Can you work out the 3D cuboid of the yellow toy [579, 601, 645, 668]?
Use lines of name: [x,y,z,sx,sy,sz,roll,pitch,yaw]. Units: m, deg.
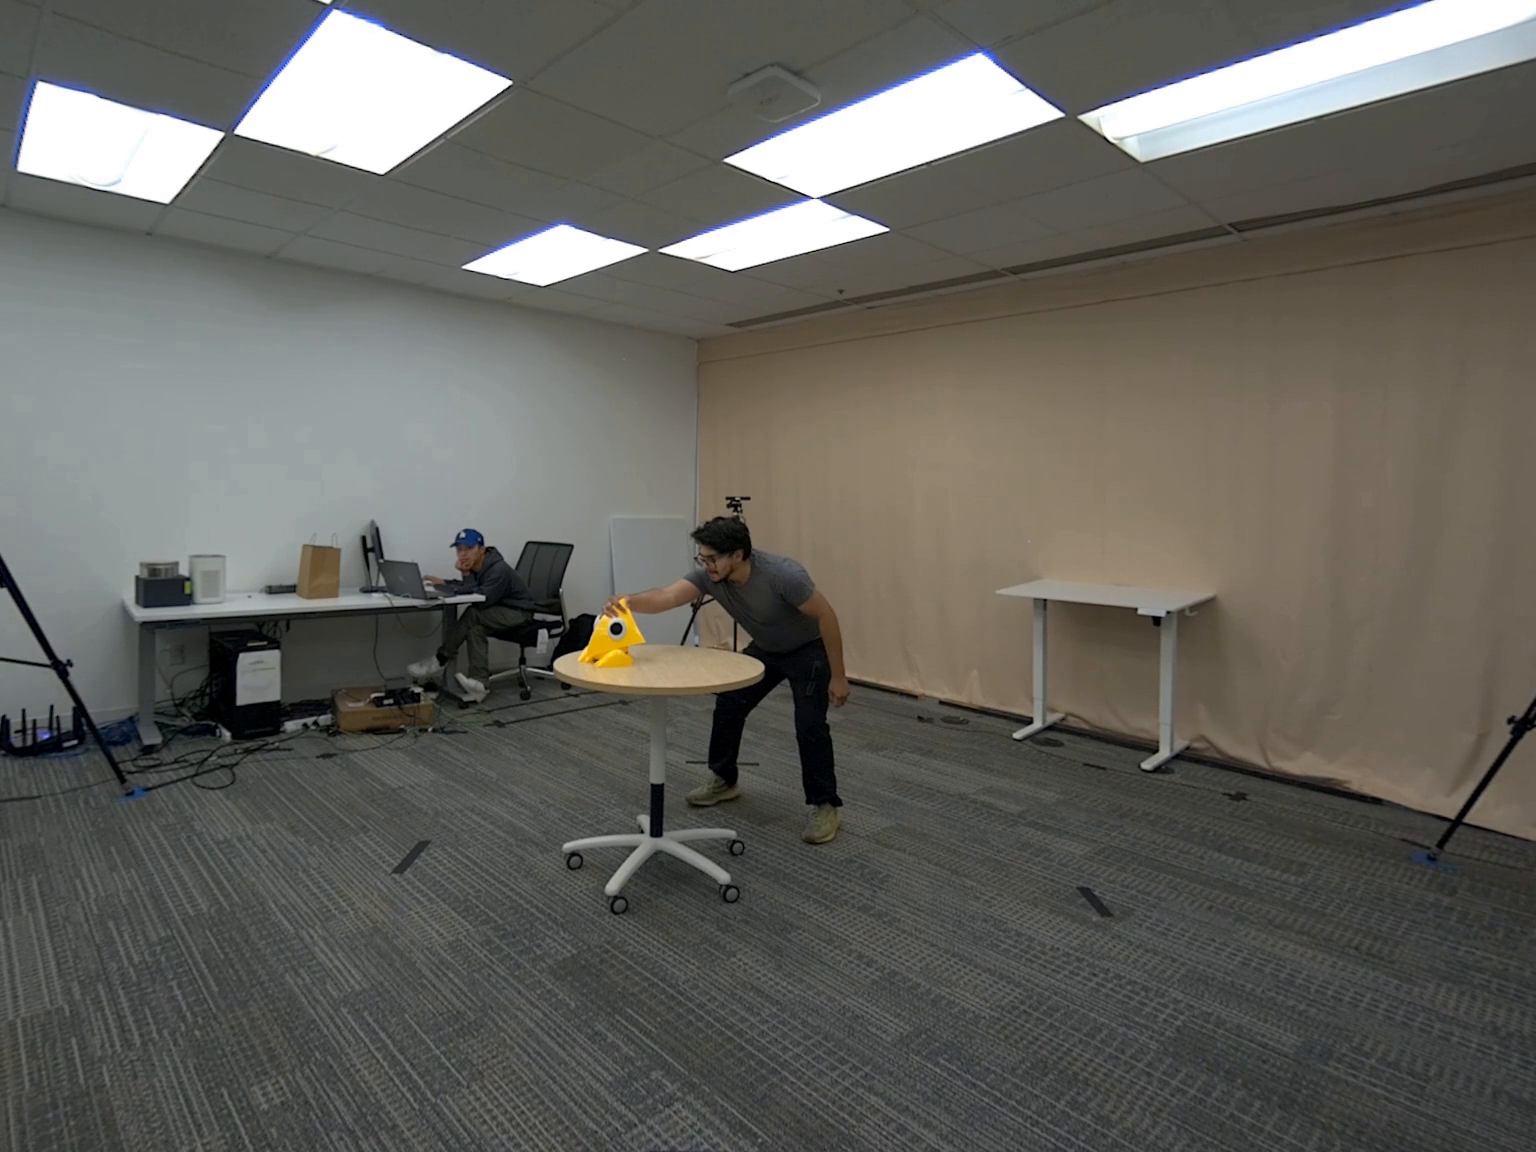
yellow toy: [-0.588,0.201,3.078,0.189,0.230,0.210,-3,6,-42]
